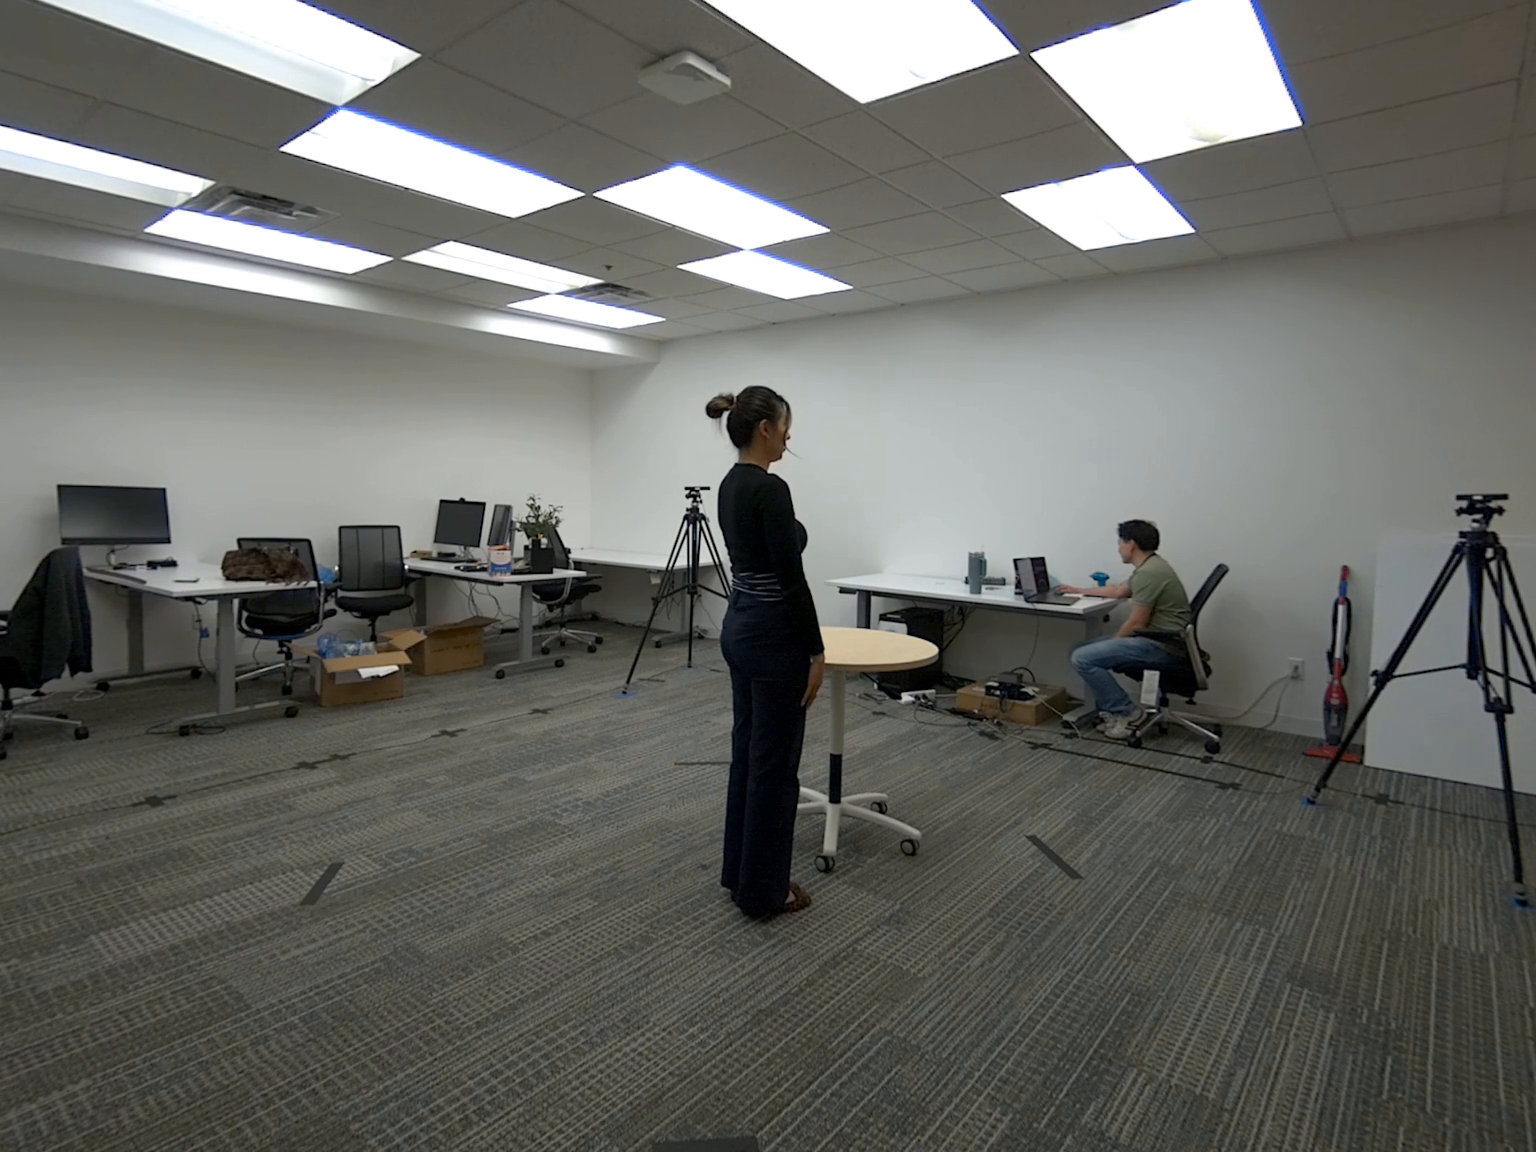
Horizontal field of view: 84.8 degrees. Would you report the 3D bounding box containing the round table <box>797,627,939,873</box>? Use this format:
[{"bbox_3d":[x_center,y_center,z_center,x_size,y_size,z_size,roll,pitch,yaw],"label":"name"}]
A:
[{"bbox_3d":[0.262,0.656,3.401,0.763,0.791,0.768,1,5,-2],"label":"round table"}]
